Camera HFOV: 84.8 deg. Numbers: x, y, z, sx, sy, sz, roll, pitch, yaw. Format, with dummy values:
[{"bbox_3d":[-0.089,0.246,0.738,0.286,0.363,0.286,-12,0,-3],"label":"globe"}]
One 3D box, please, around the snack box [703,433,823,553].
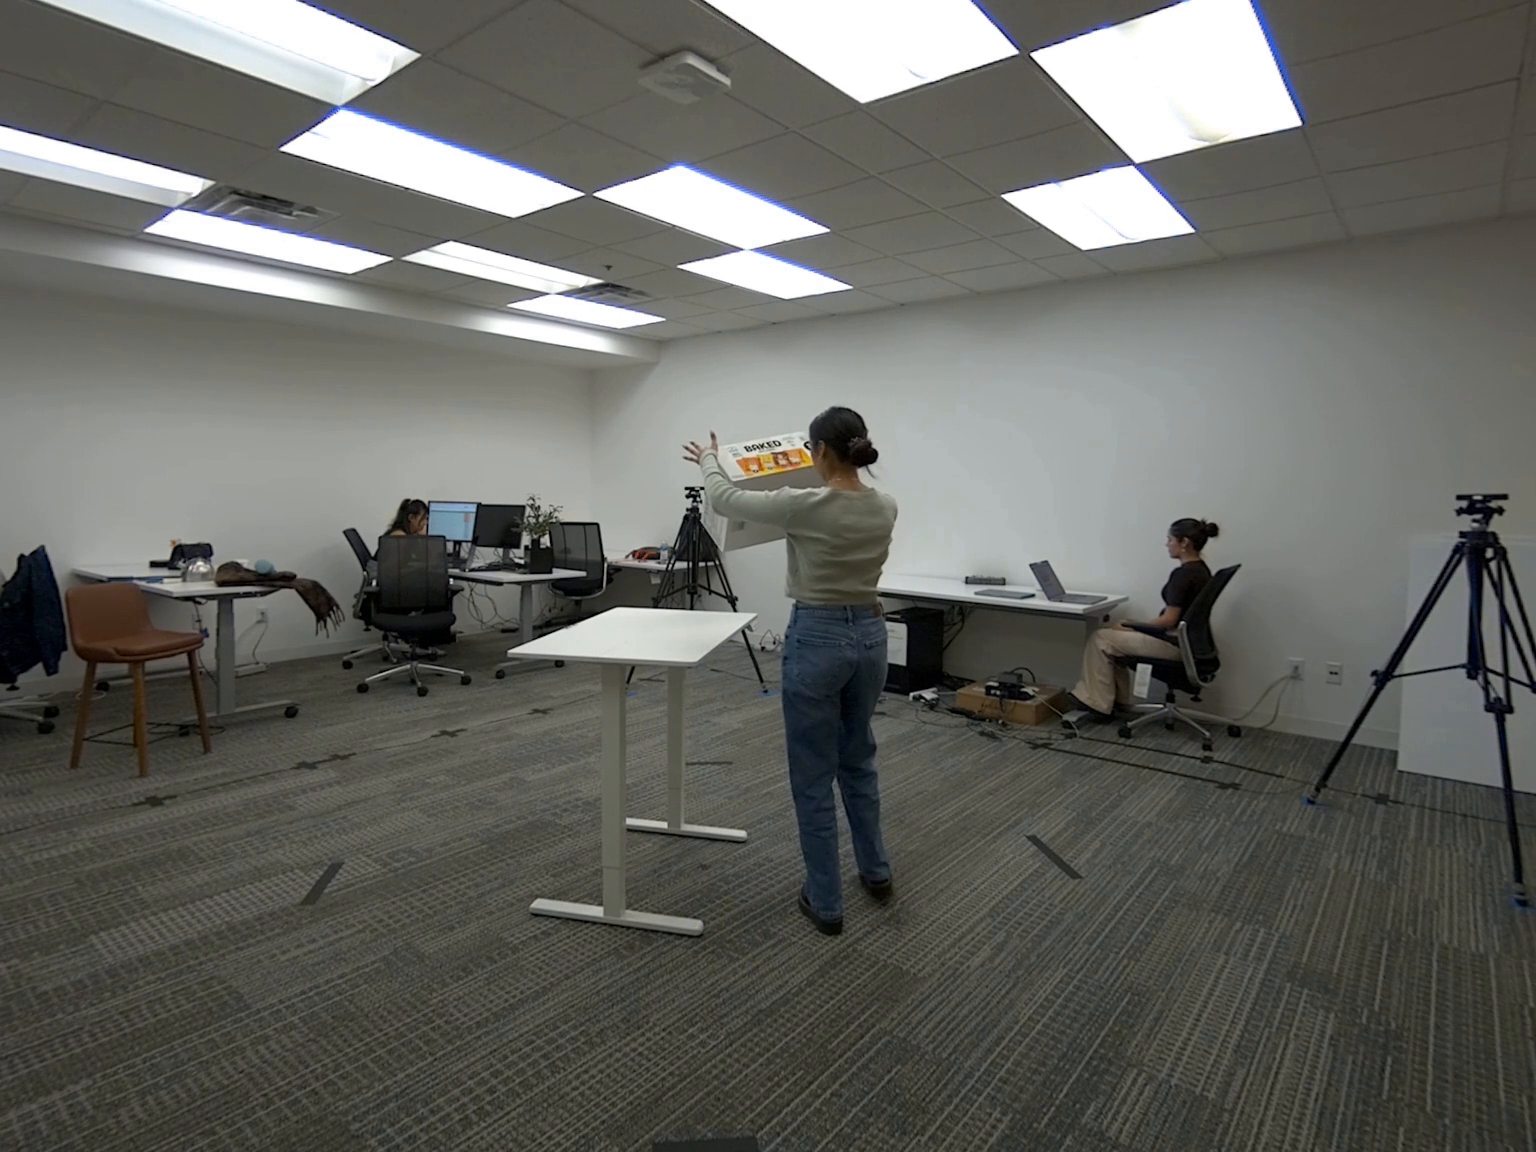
[{"bbox_3d":[-0.021,-0.315,3.170,0.398,0.332,0.214,-14,46,-24],"label":"snack box"}]
